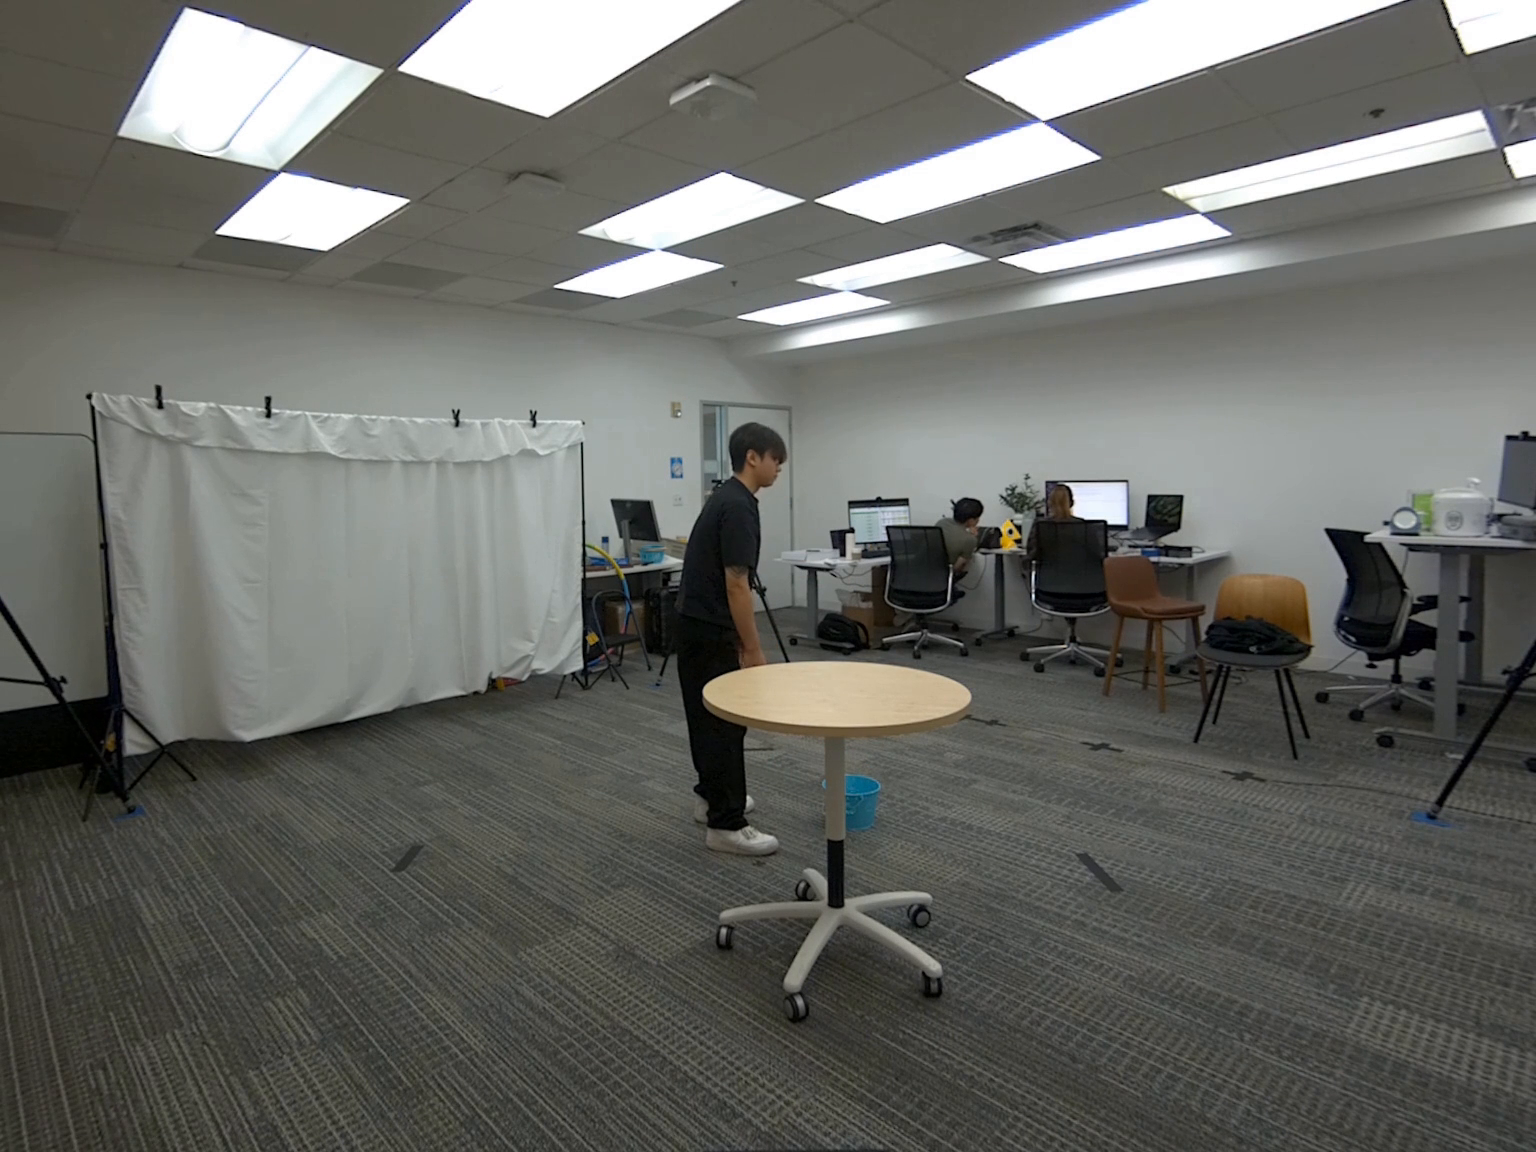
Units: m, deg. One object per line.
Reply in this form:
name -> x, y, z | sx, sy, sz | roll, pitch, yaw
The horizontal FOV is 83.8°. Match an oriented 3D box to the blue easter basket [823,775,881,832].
blue easter basket -> 0.342, 0.923, 3.481 | 0.243, 0.155, 0.245 | -1, 5, -2
